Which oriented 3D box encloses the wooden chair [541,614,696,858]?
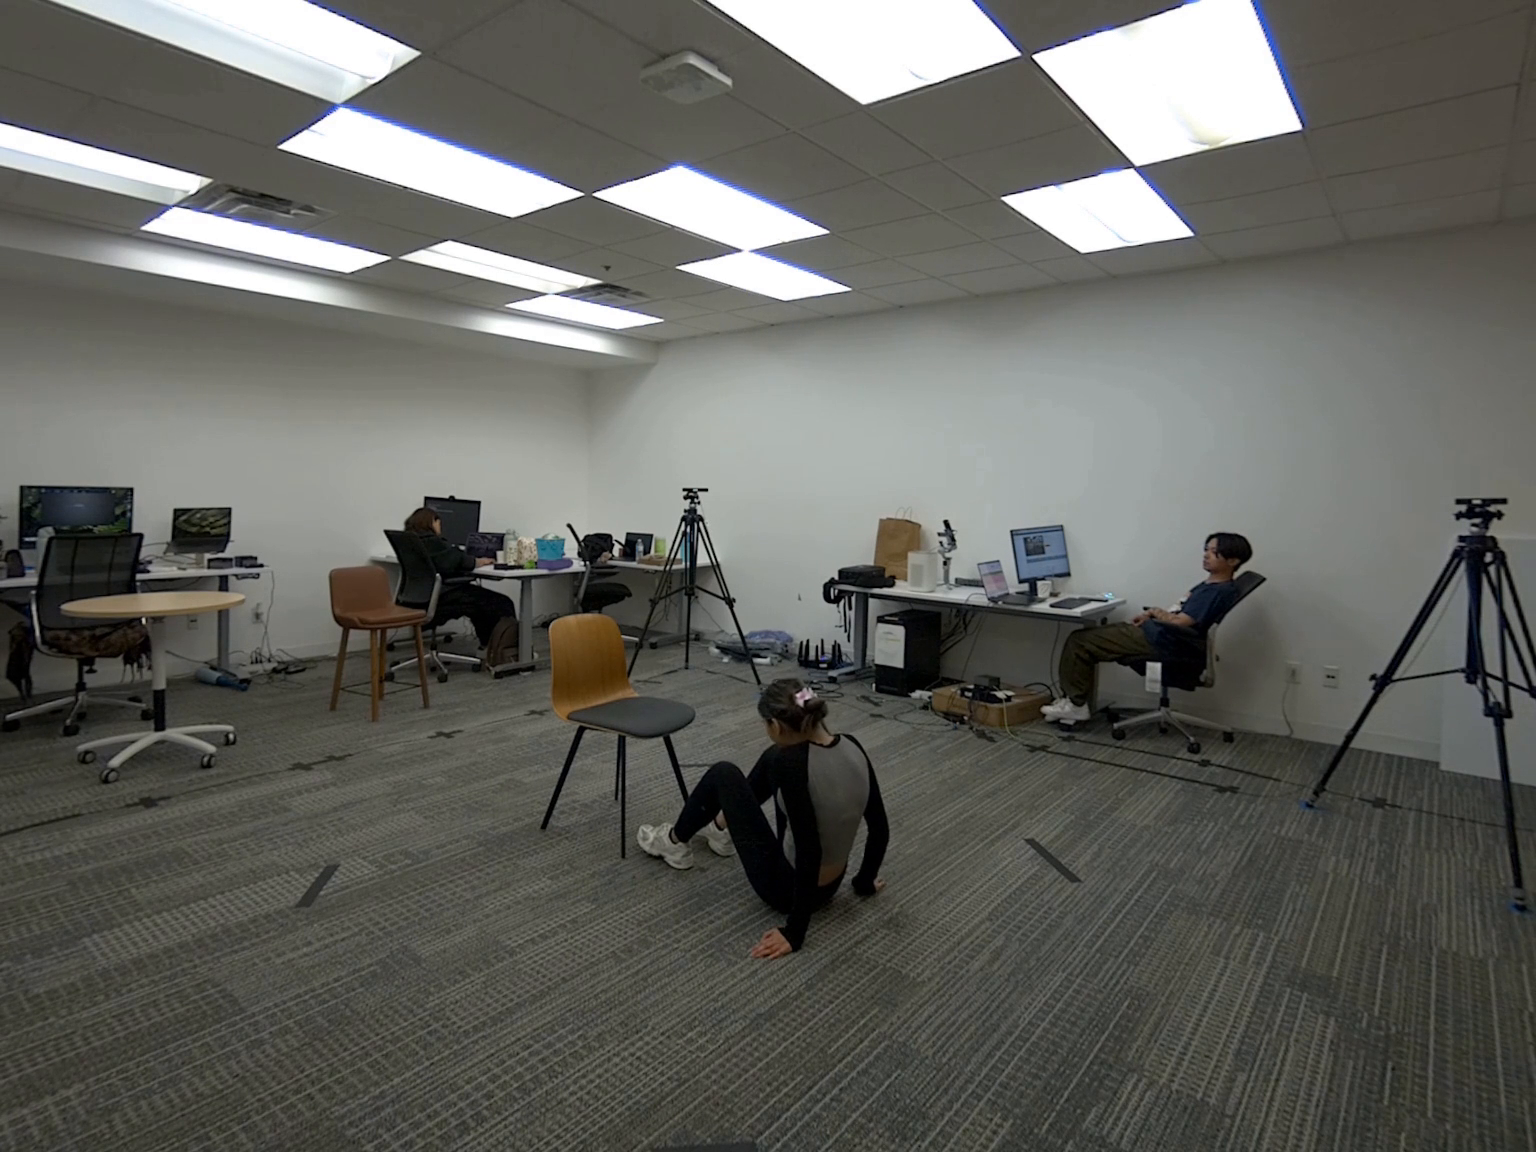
[{"bbox_3d":[-0.606,0.599,3.462,0.538,0.877,0.464,-2,1,34],"label":"wooden chair"}]
